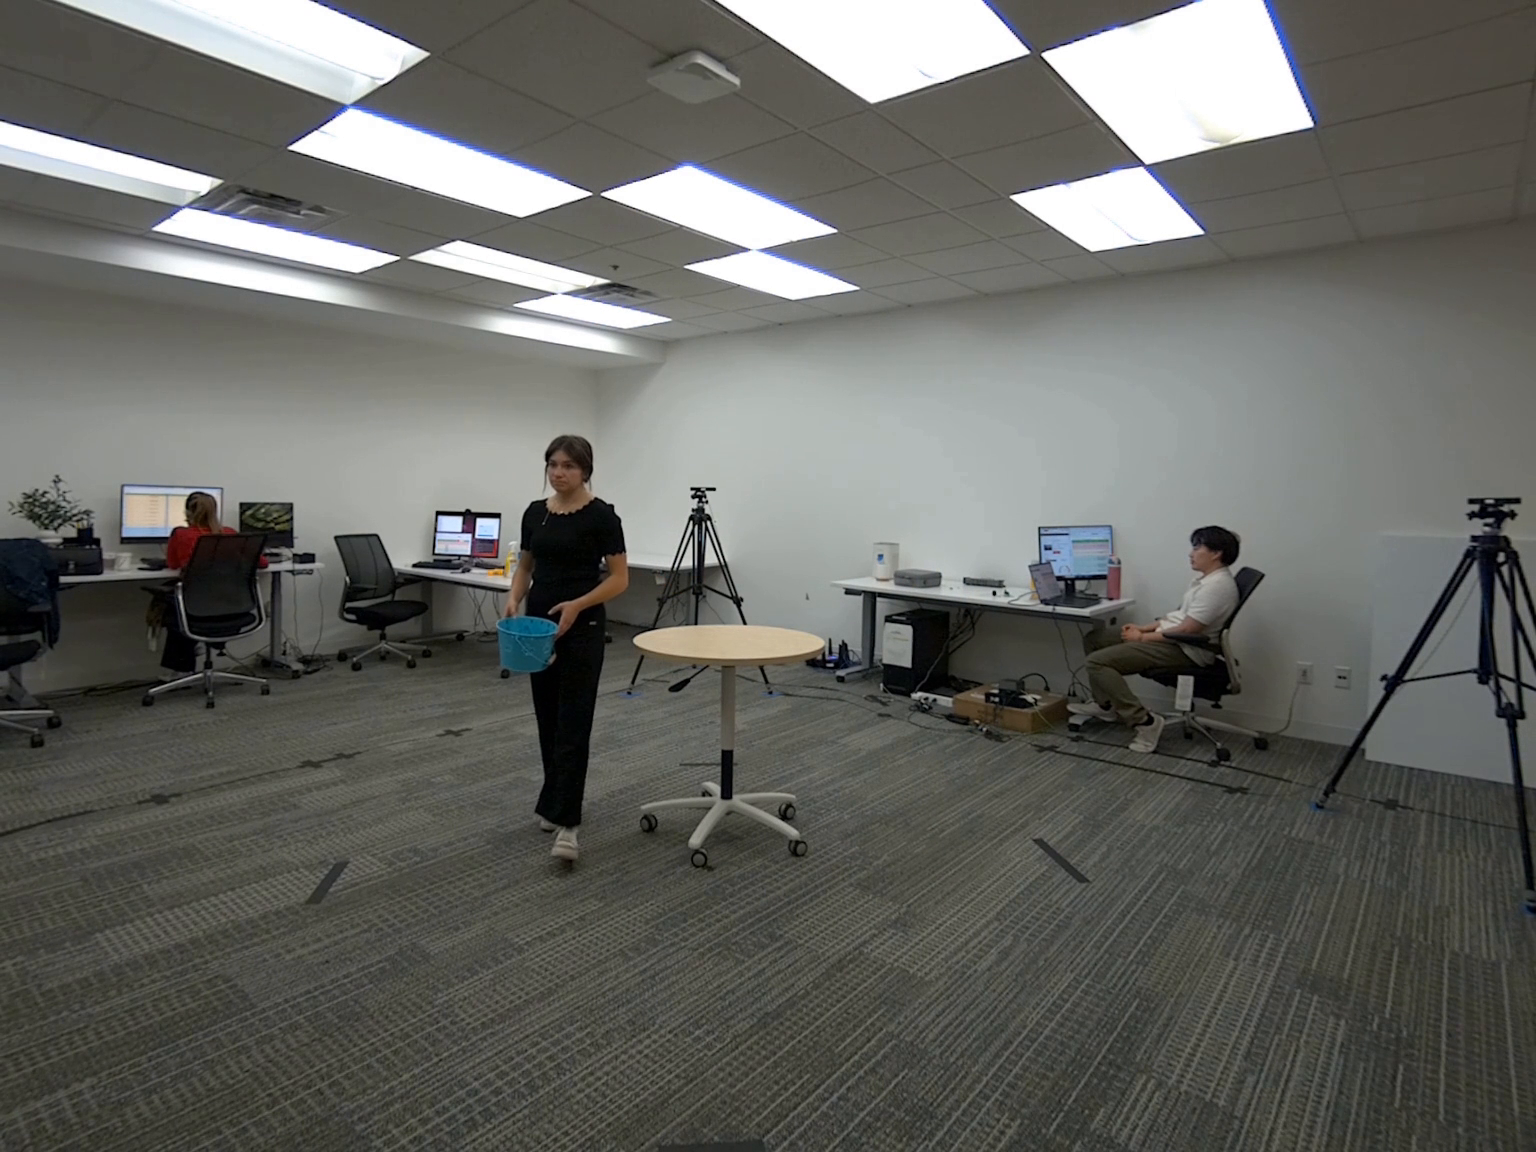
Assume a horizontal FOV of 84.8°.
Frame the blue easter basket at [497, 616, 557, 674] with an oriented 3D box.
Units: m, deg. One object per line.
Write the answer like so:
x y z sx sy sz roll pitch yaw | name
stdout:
-0.926 0.263 3.231 0.243 0.154 0.246 5 11 -3 | blue easter basket
